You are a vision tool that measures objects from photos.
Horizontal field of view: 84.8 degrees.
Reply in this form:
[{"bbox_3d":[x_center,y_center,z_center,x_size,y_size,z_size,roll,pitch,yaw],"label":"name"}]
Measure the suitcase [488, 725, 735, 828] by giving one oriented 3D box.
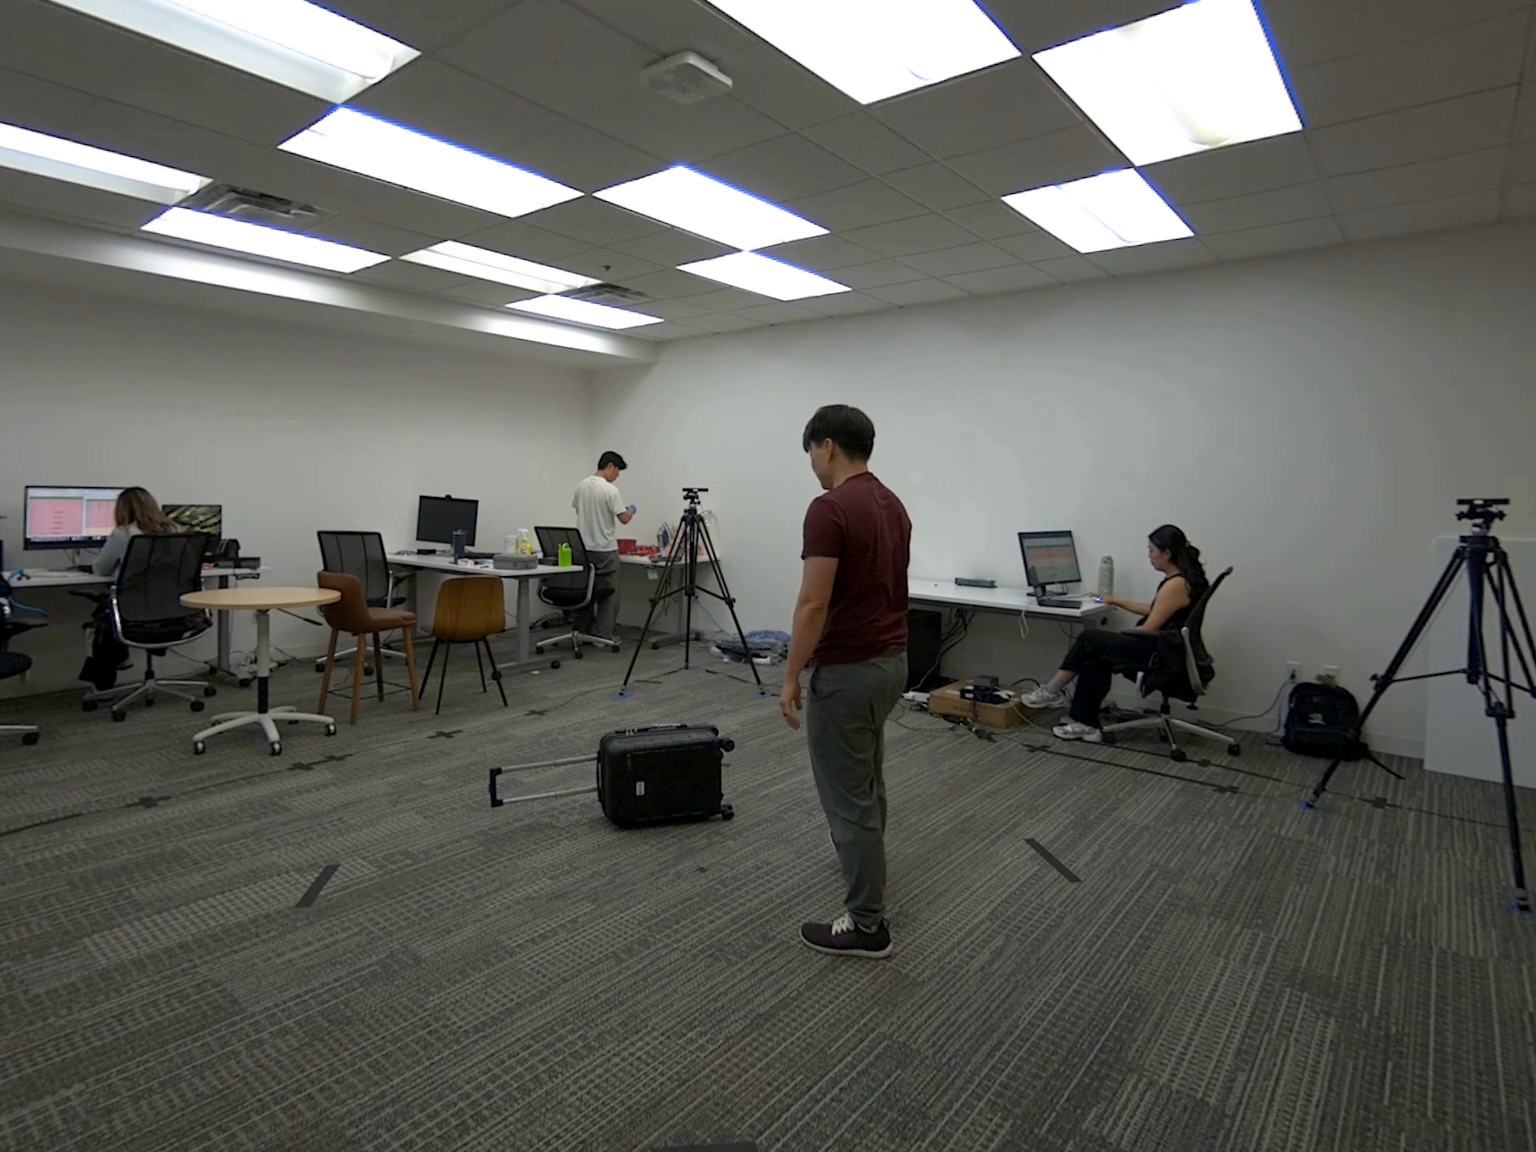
[{"bbox_3d":[-0.645,0.836,3.513,0.958,0.383,0.263,-2,3,-21],"label":"suitcase"}]
